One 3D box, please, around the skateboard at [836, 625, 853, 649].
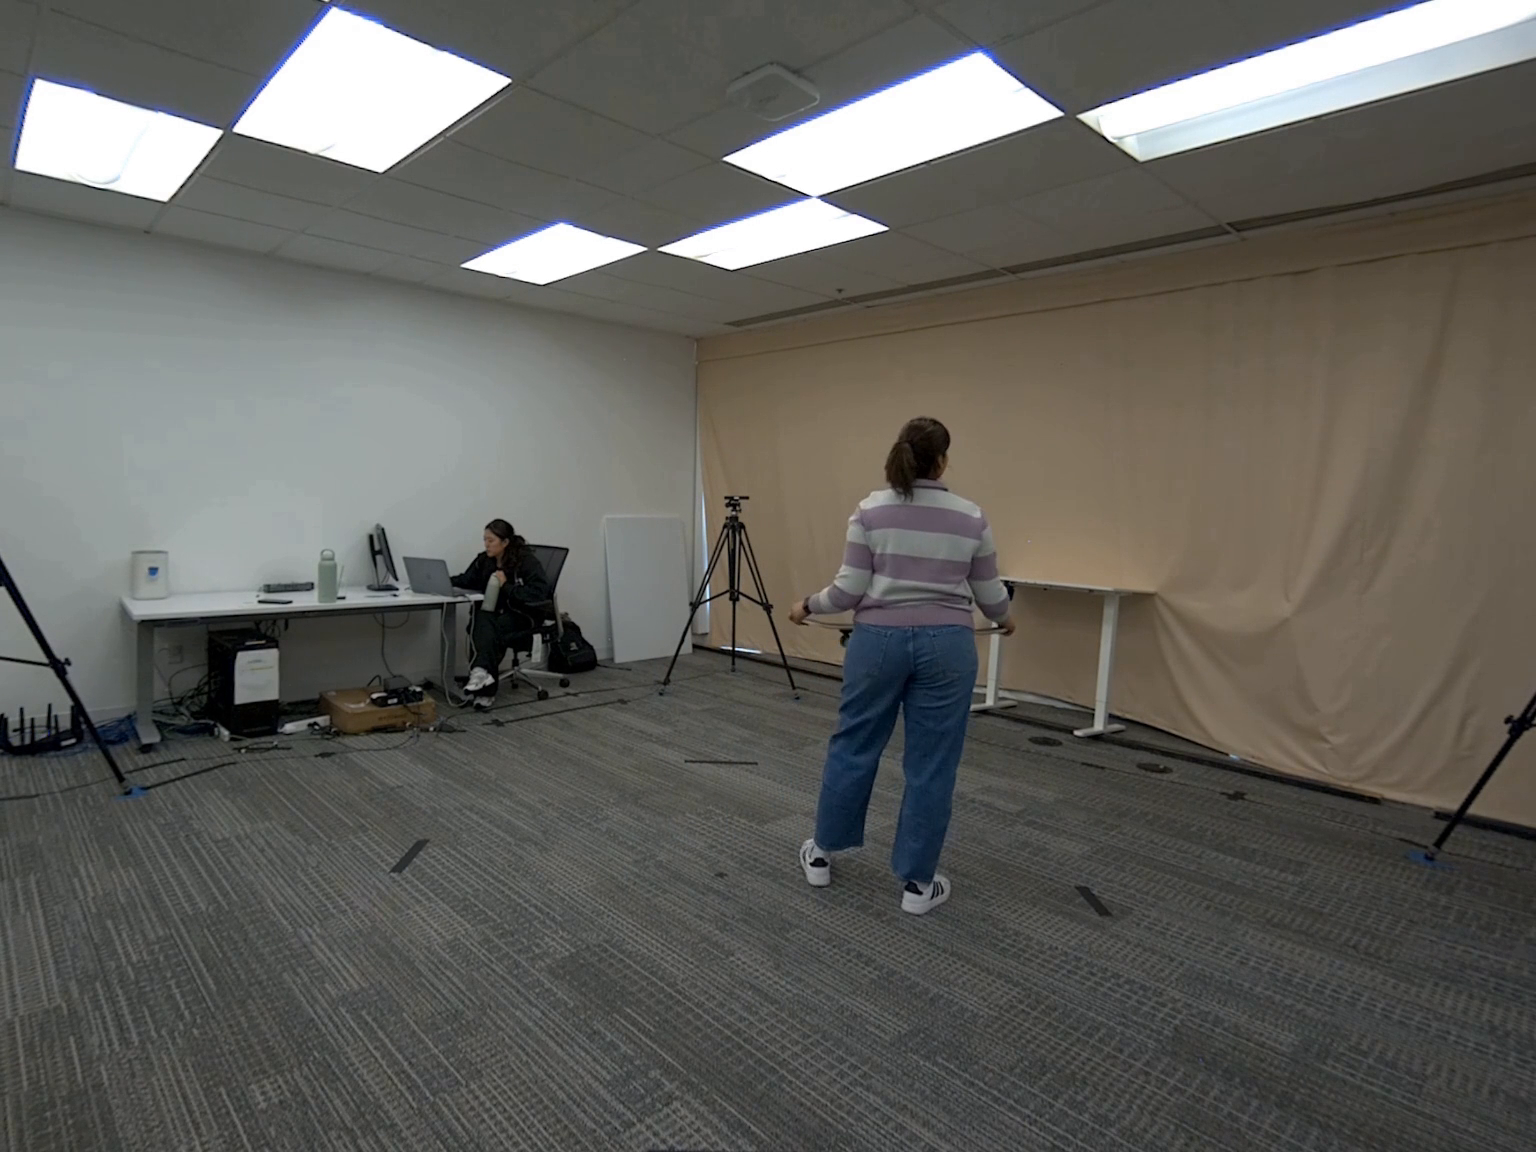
[{"bbox_3d":[0.488,0.223,3.164,0.788,0.111,0.192,4,-4,3],"label":"skateboard"}]
